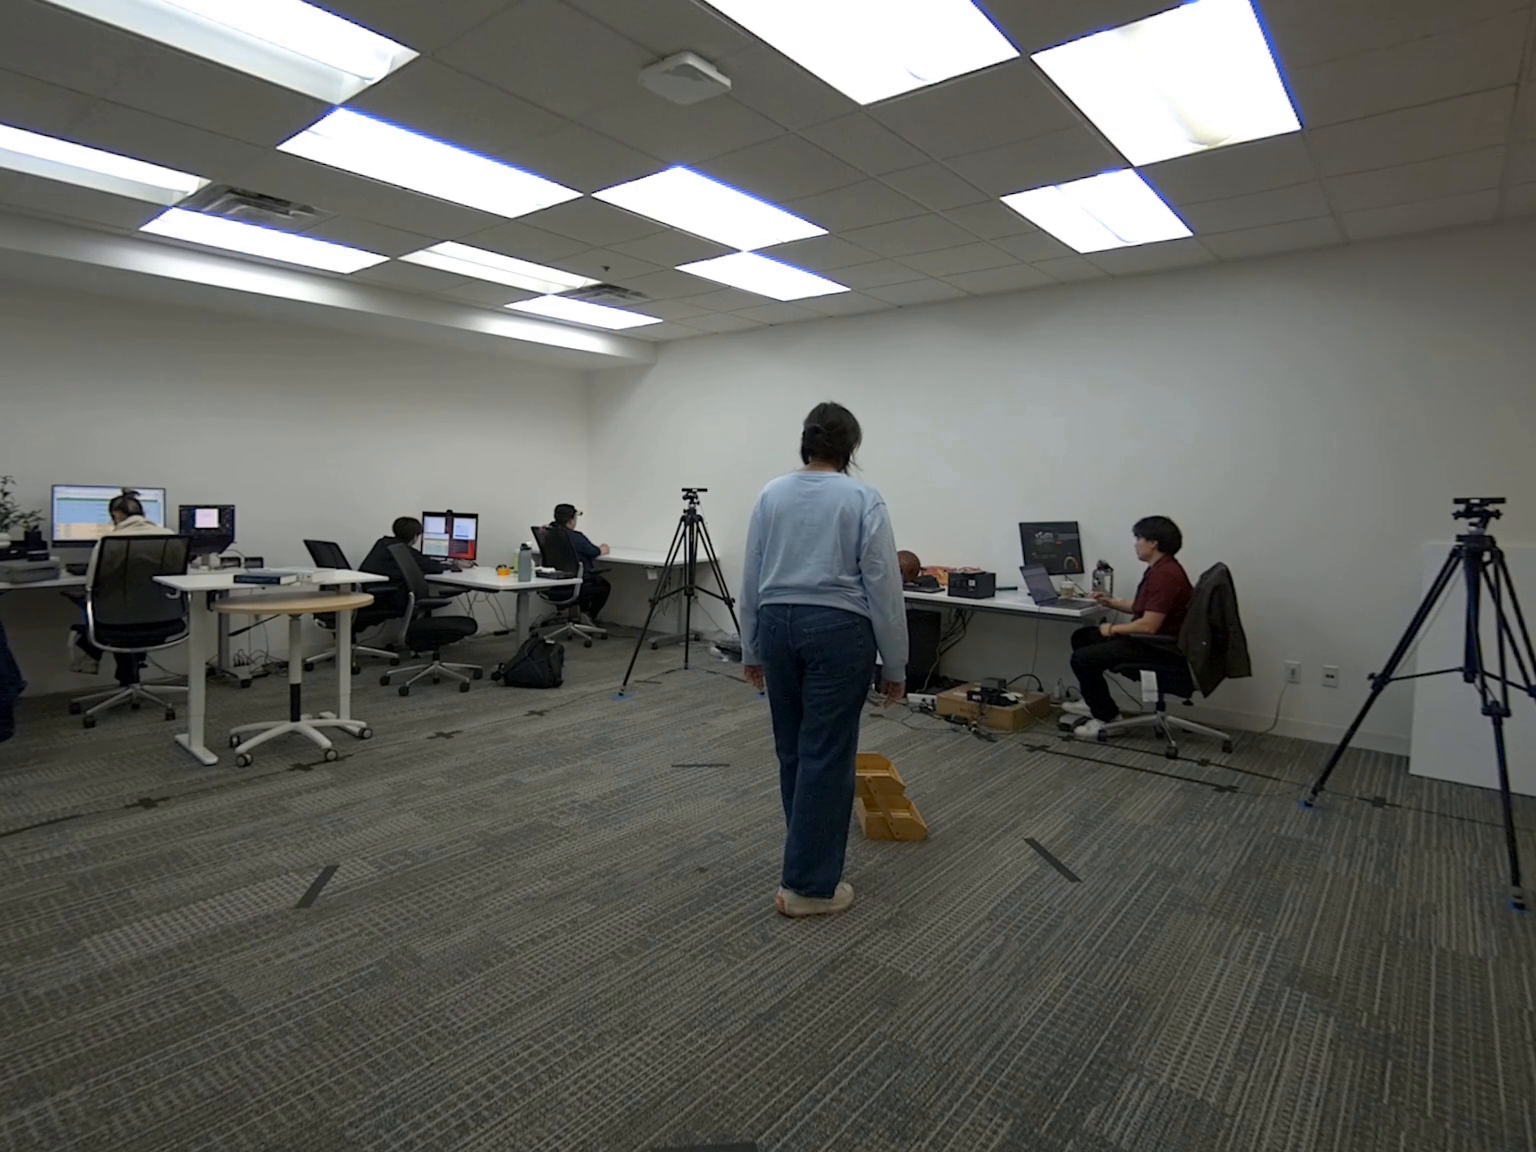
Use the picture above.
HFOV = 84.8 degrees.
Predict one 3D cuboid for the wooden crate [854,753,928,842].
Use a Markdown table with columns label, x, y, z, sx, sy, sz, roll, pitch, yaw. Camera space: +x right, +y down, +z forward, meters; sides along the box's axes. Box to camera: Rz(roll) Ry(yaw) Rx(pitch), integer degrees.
| label | x | y | z | sx | sy | sz | roll | pitch | yaw |
| --- | --- | --- | --- | --- | --- | --- | --- | --- | --- |
| wooden crate | 0.490 | 0.910 | 3.566 | 0.302 | 0.272 | 0.325 | 1 | 4 | 0 |
